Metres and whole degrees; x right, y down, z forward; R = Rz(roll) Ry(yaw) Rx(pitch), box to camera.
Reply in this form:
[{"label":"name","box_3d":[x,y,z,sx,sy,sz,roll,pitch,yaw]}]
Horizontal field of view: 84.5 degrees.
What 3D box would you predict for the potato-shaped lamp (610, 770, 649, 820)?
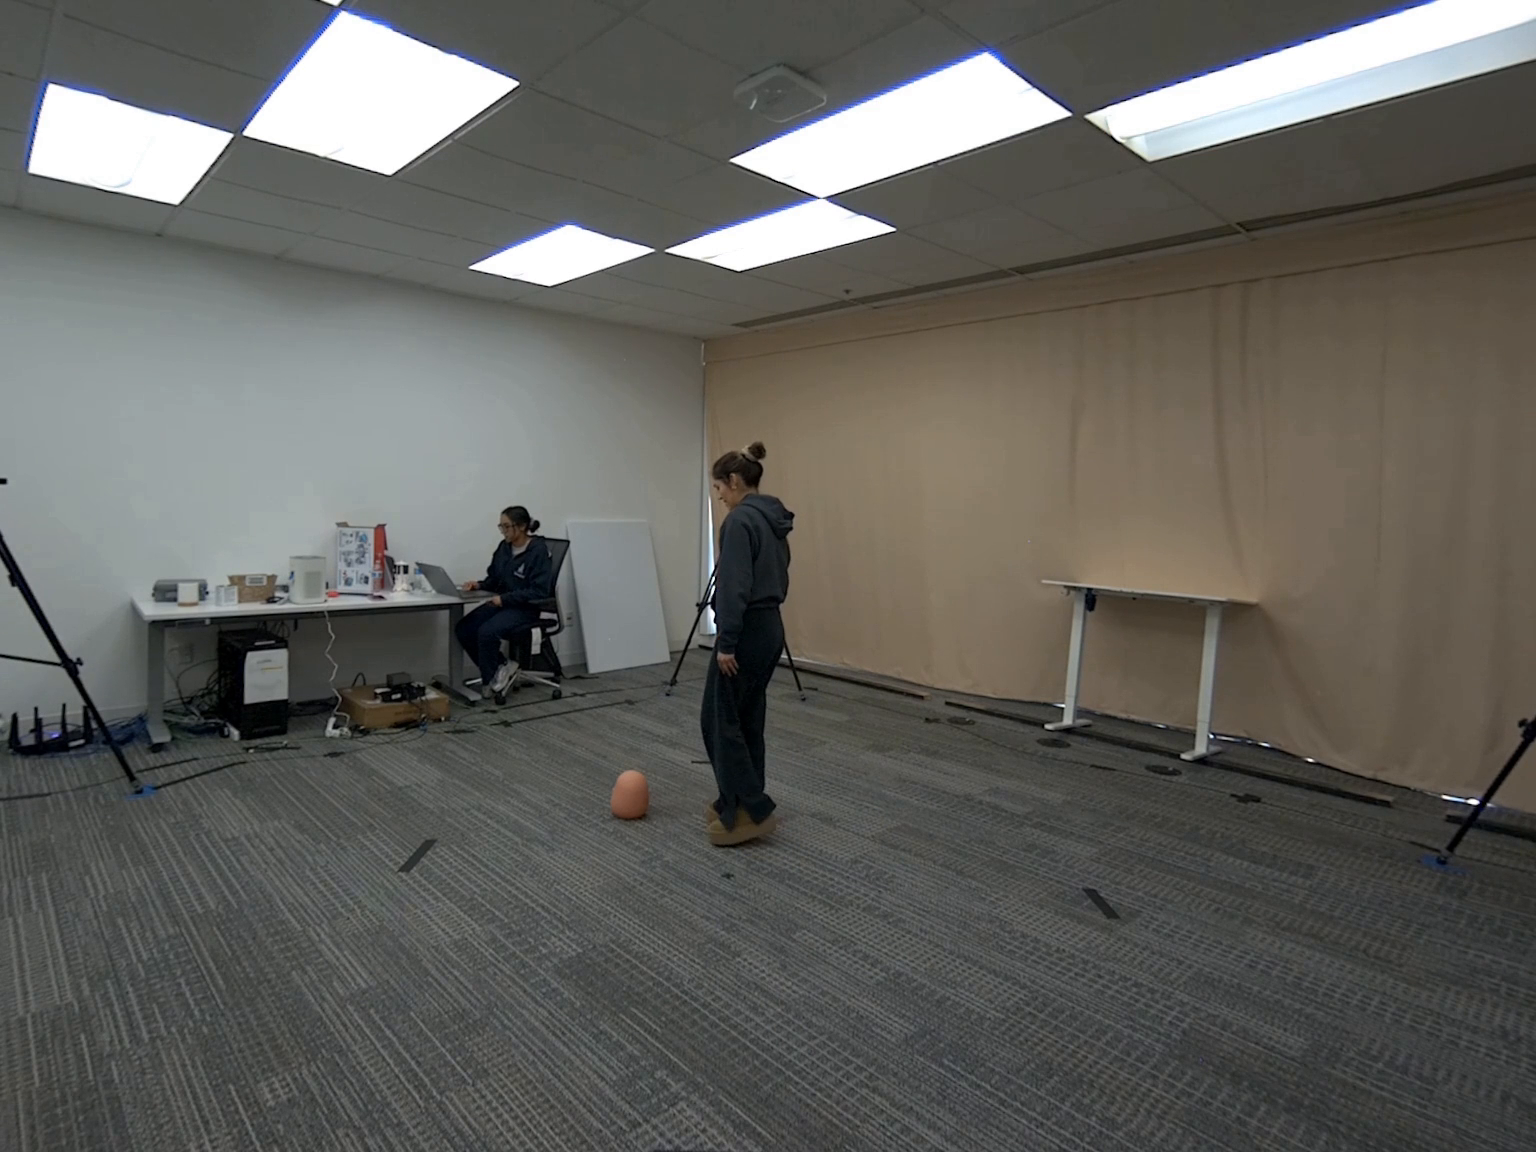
[{"label":"potato-shaped lamp","box_3d":[-0.608,0.941,3.679,0.161,0.198,0.175,1,3,-34]}]
